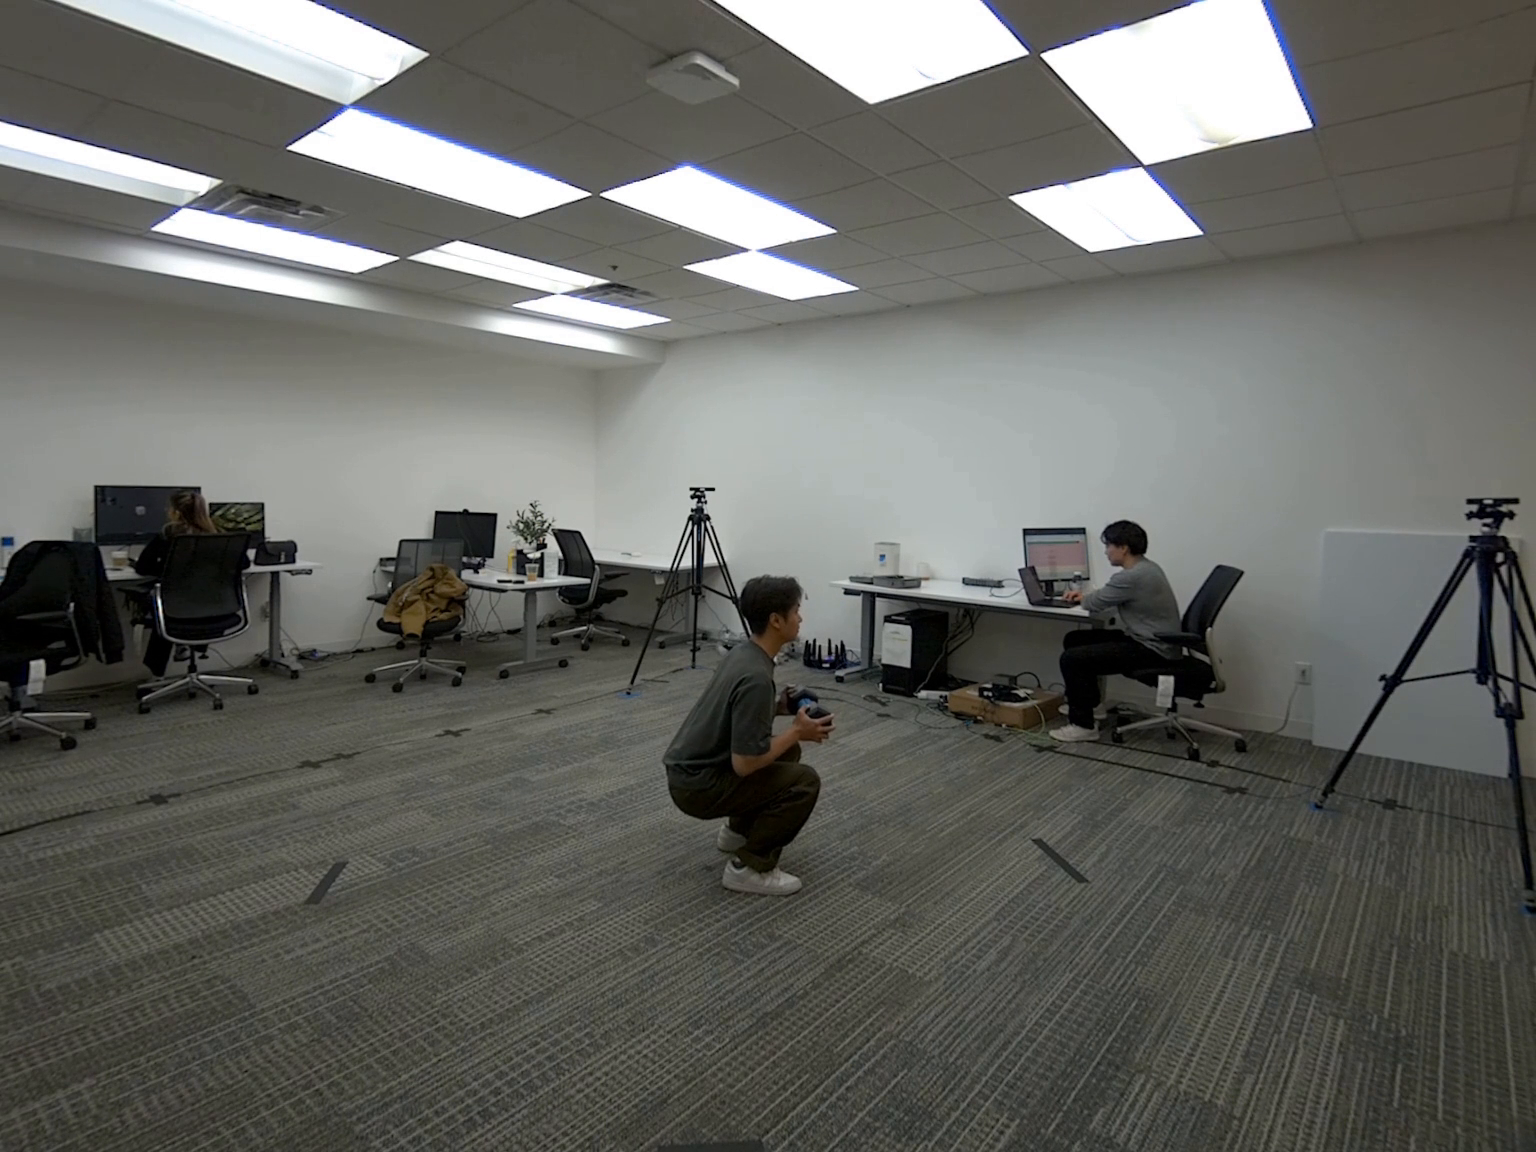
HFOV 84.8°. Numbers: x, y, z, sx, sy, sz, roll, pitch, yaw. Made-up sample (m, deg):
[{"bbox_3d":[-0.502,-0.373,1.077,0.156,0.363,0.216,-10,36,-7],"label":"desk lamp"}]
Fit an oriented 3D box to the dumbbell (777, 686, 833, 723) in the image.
[{"bbox_3d":[0.136,0.496,3.109,0.123,0.107,0.298,-34,12,-1],"label":"dumbbell"}]
